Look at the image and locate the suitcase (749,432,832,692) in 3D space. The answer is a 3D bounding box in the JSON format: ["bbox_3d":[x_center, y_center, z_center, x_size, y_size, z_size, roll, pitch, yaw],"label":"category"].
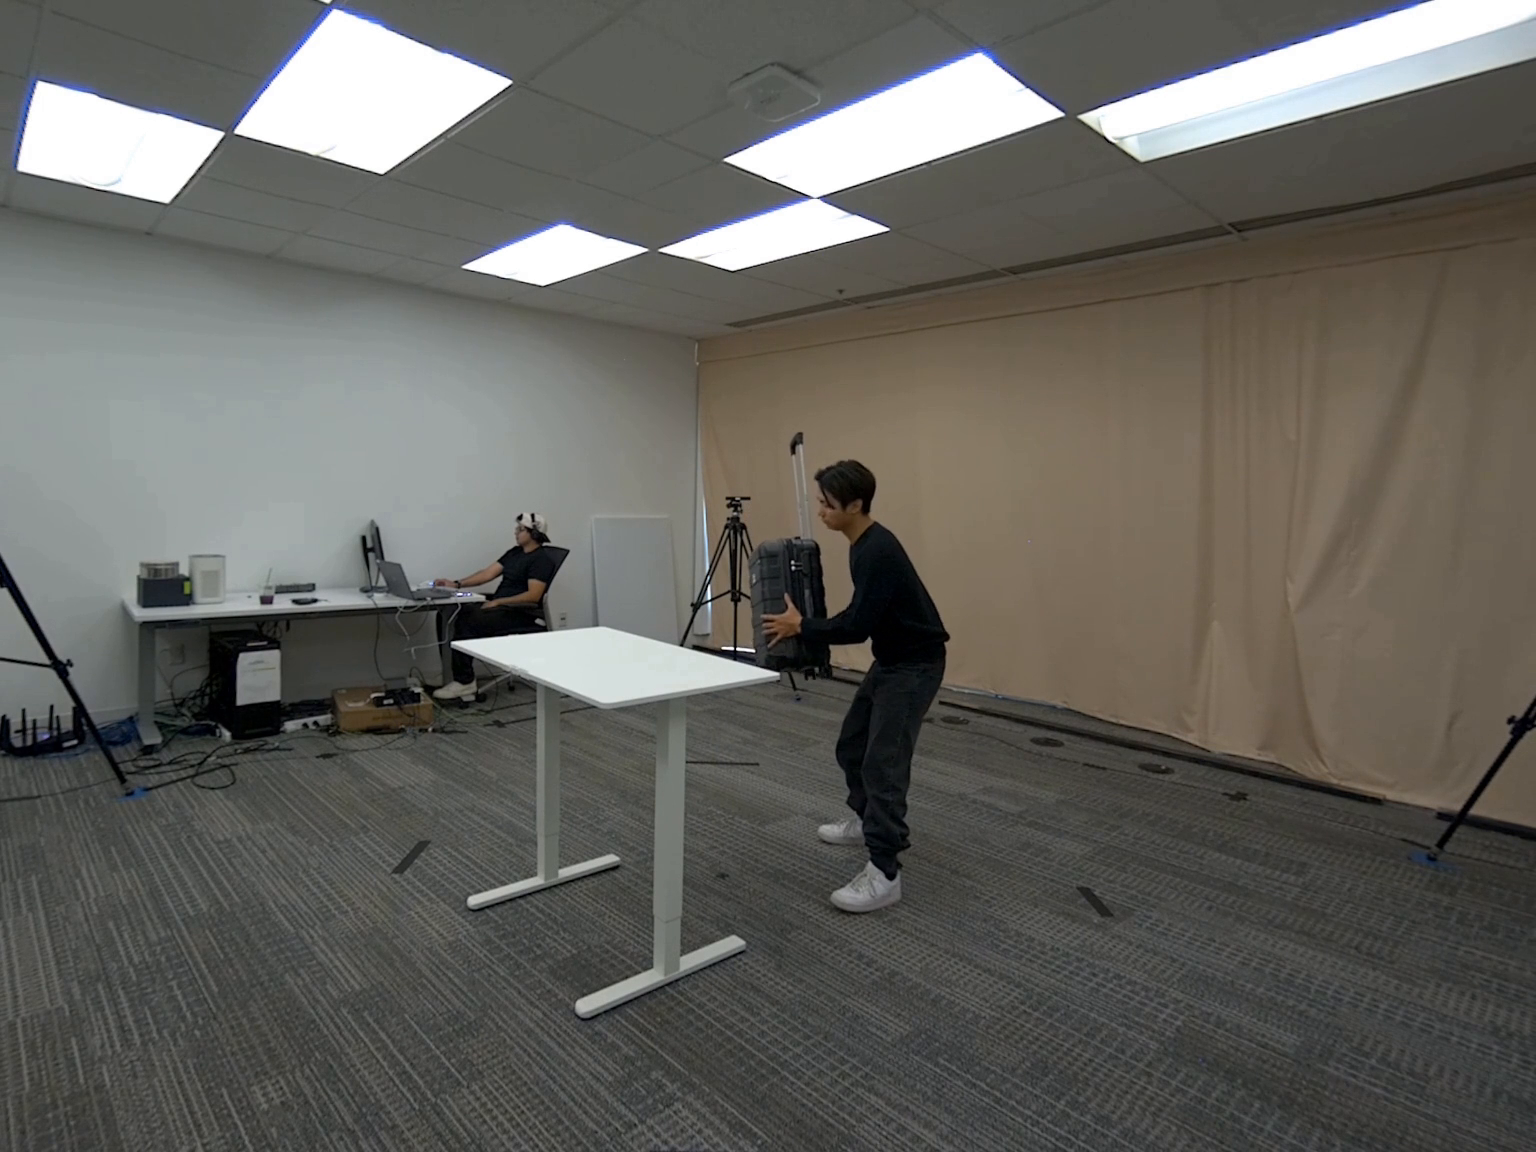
[{"bbox_3d":[0.050,-0.066,3.347,0.256,0.987,0.383,-4,-10,-7],"label":"suitcase"}]
